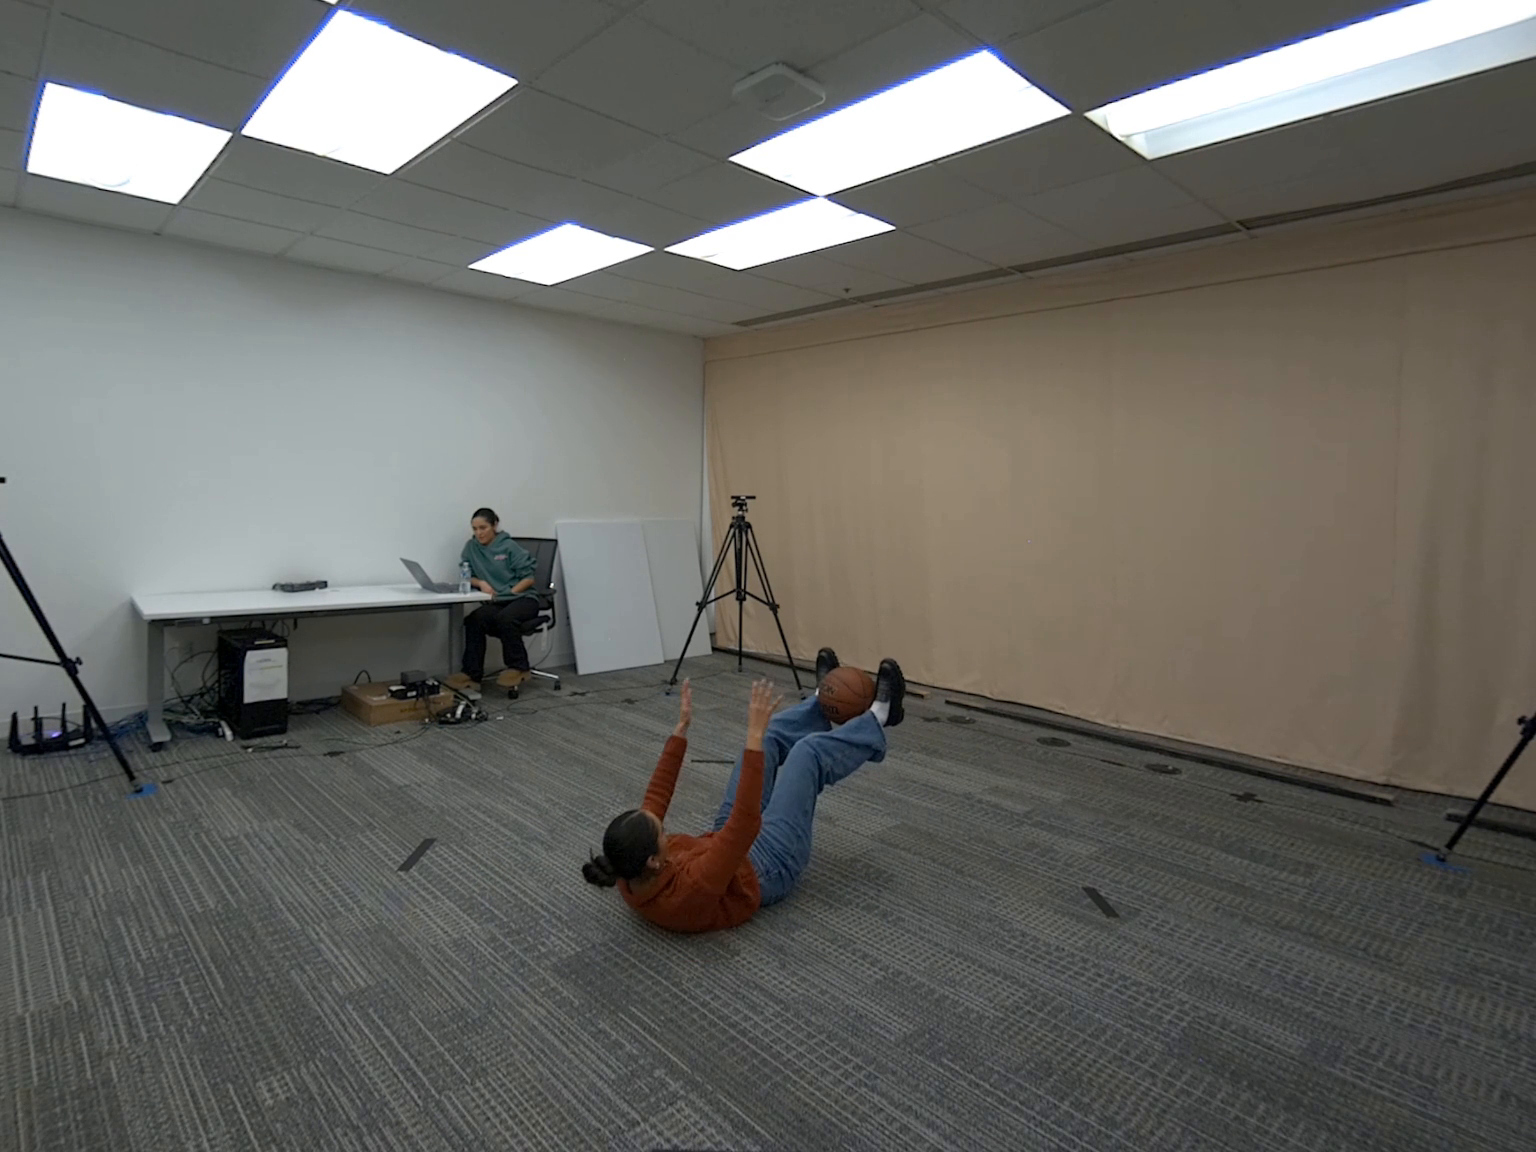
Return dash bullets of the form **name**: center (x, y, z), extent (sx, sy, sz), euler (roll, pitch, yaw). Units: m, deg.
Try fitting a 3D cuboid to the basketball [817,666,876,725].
- **basketball**: center (0.305, 0.477, 3.352), extent (0.236, 0.234, 0.237), euler (0, 8, -1)
